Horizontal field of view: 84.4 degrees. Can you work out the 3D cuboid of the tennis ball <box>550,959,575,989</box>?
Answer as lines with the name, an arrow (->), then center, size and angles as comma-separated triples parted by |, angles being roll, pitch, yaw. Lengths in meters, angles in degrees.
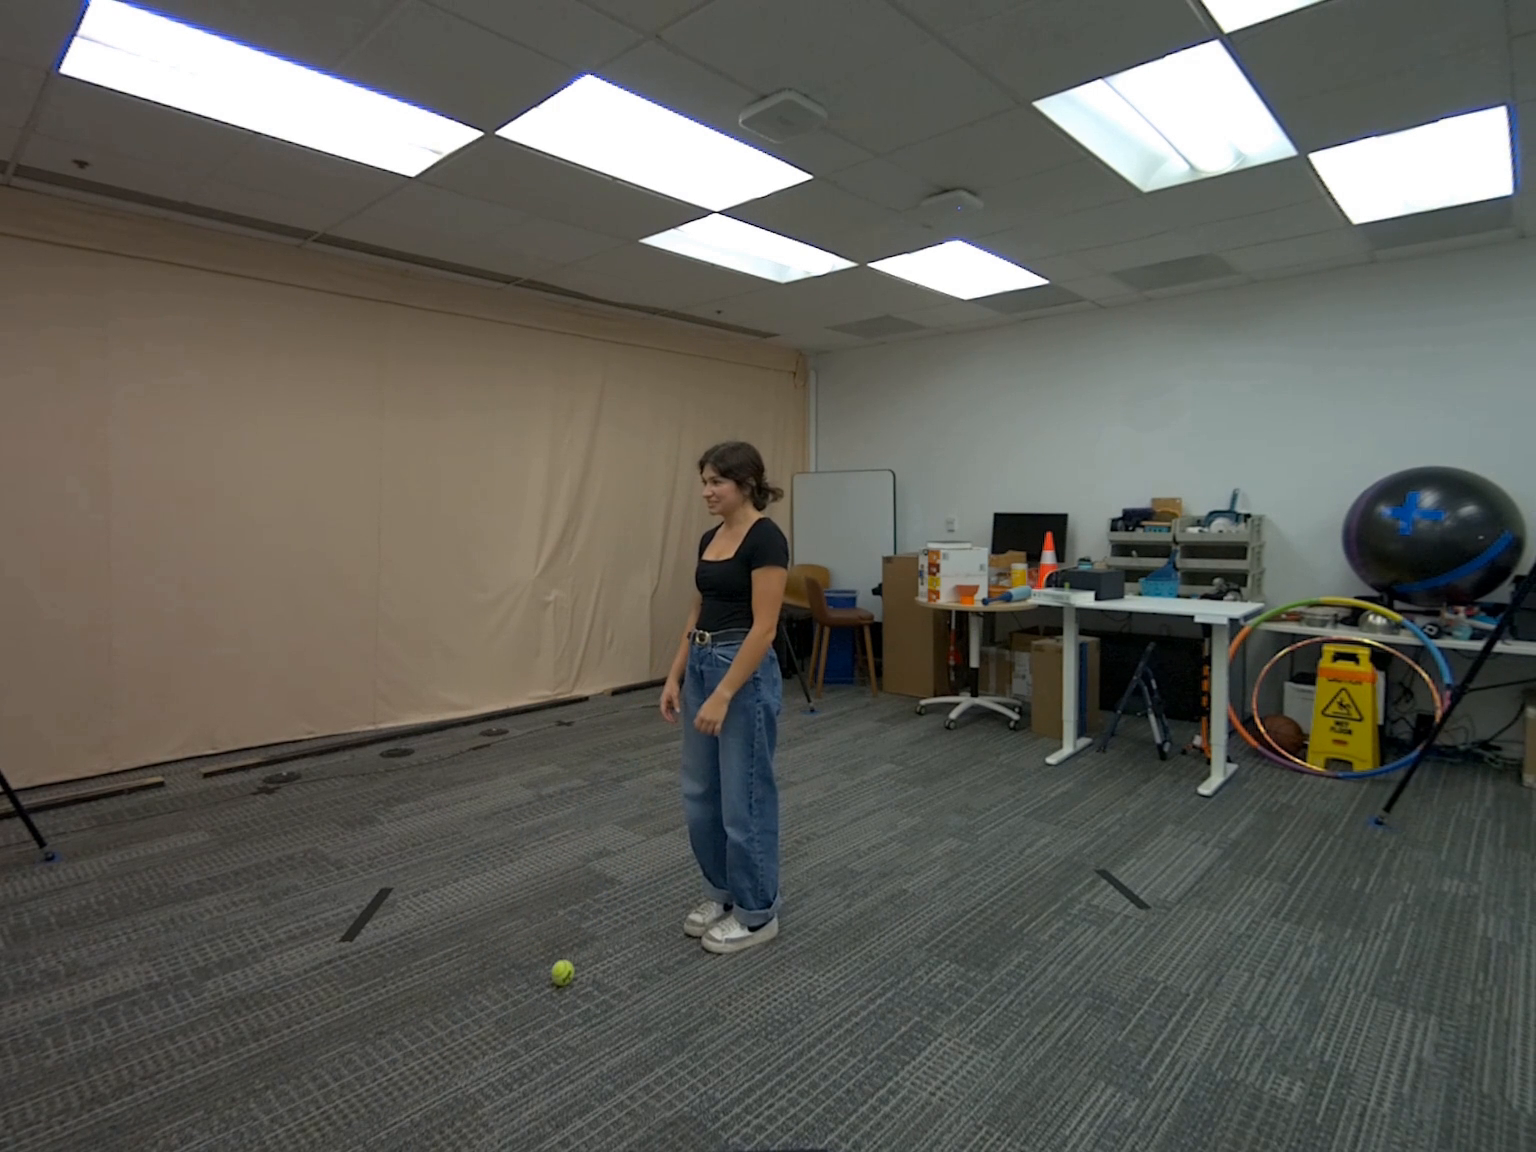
tennis ball -> -0.599, 1.156, 2.456 | 0.066, 0.066, 0.067 | 0, 4, -2
